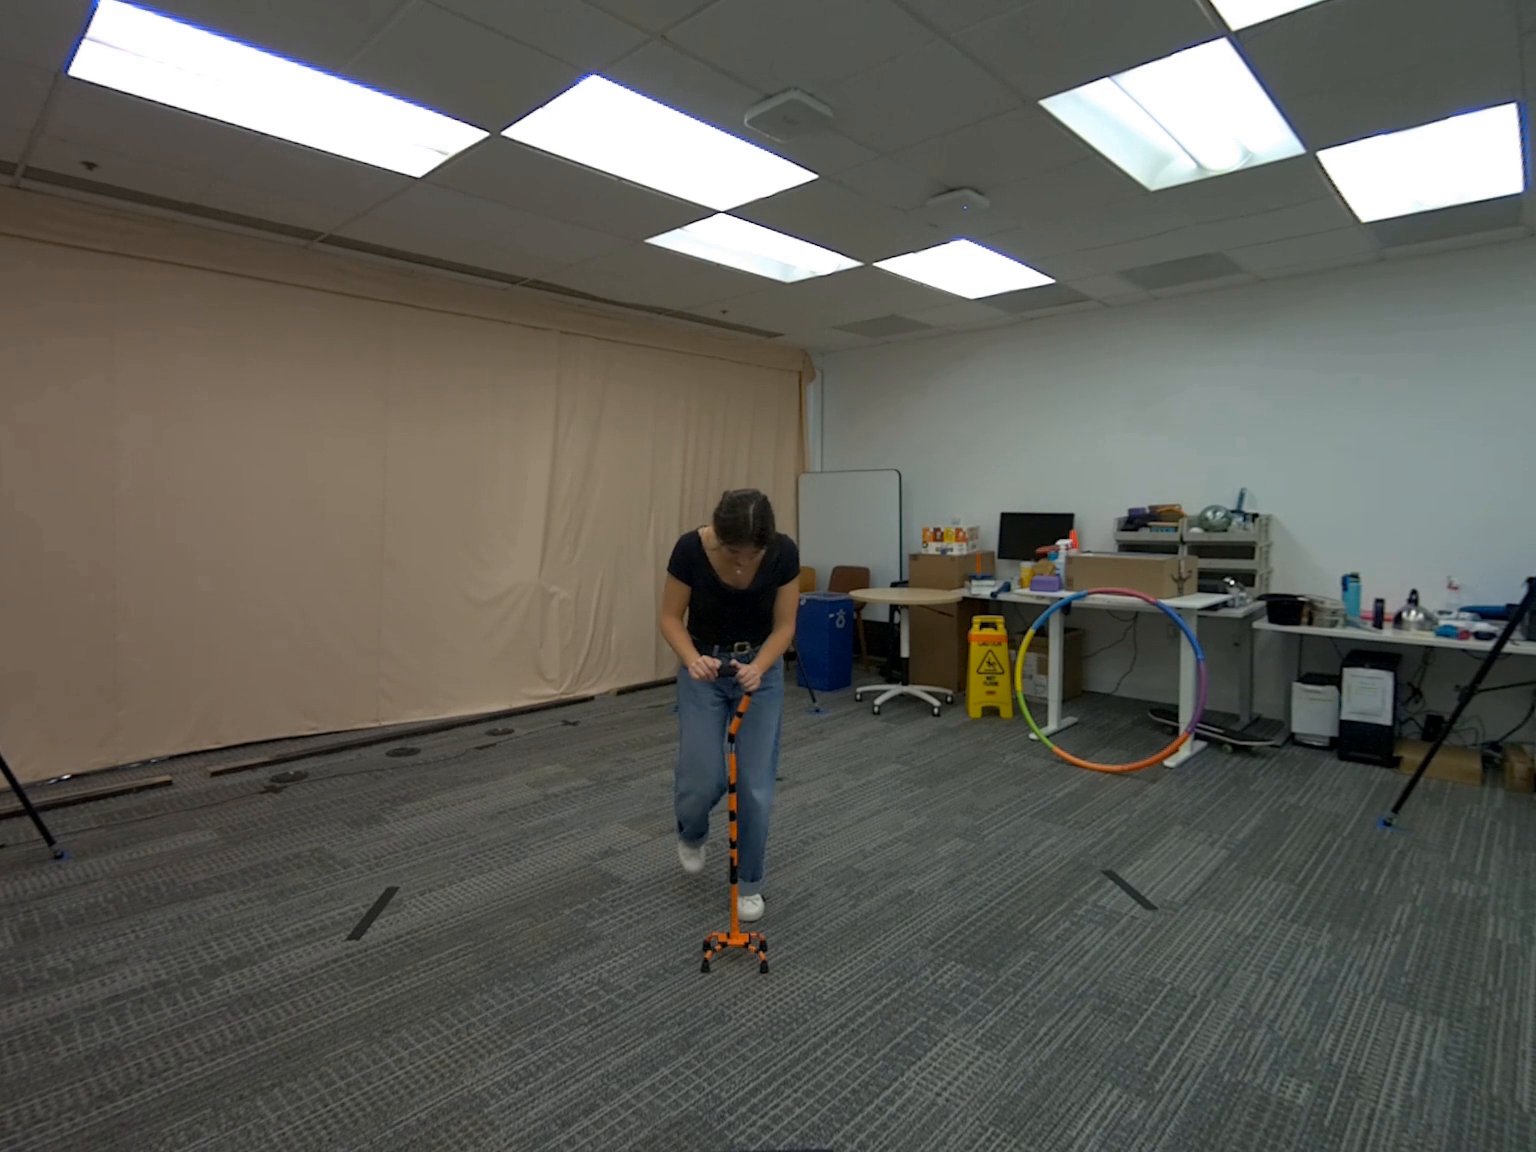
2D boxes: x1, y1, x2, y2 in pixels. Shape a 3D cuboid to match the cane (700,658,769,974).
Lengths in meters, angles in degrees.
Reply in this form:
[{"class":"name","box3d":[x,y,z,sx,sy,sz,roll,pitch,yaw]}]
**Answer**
[{"class":"cane","box3d":[-0.098,0.719,2.554,0.207,0.906,0.152,0,4,0]}]
